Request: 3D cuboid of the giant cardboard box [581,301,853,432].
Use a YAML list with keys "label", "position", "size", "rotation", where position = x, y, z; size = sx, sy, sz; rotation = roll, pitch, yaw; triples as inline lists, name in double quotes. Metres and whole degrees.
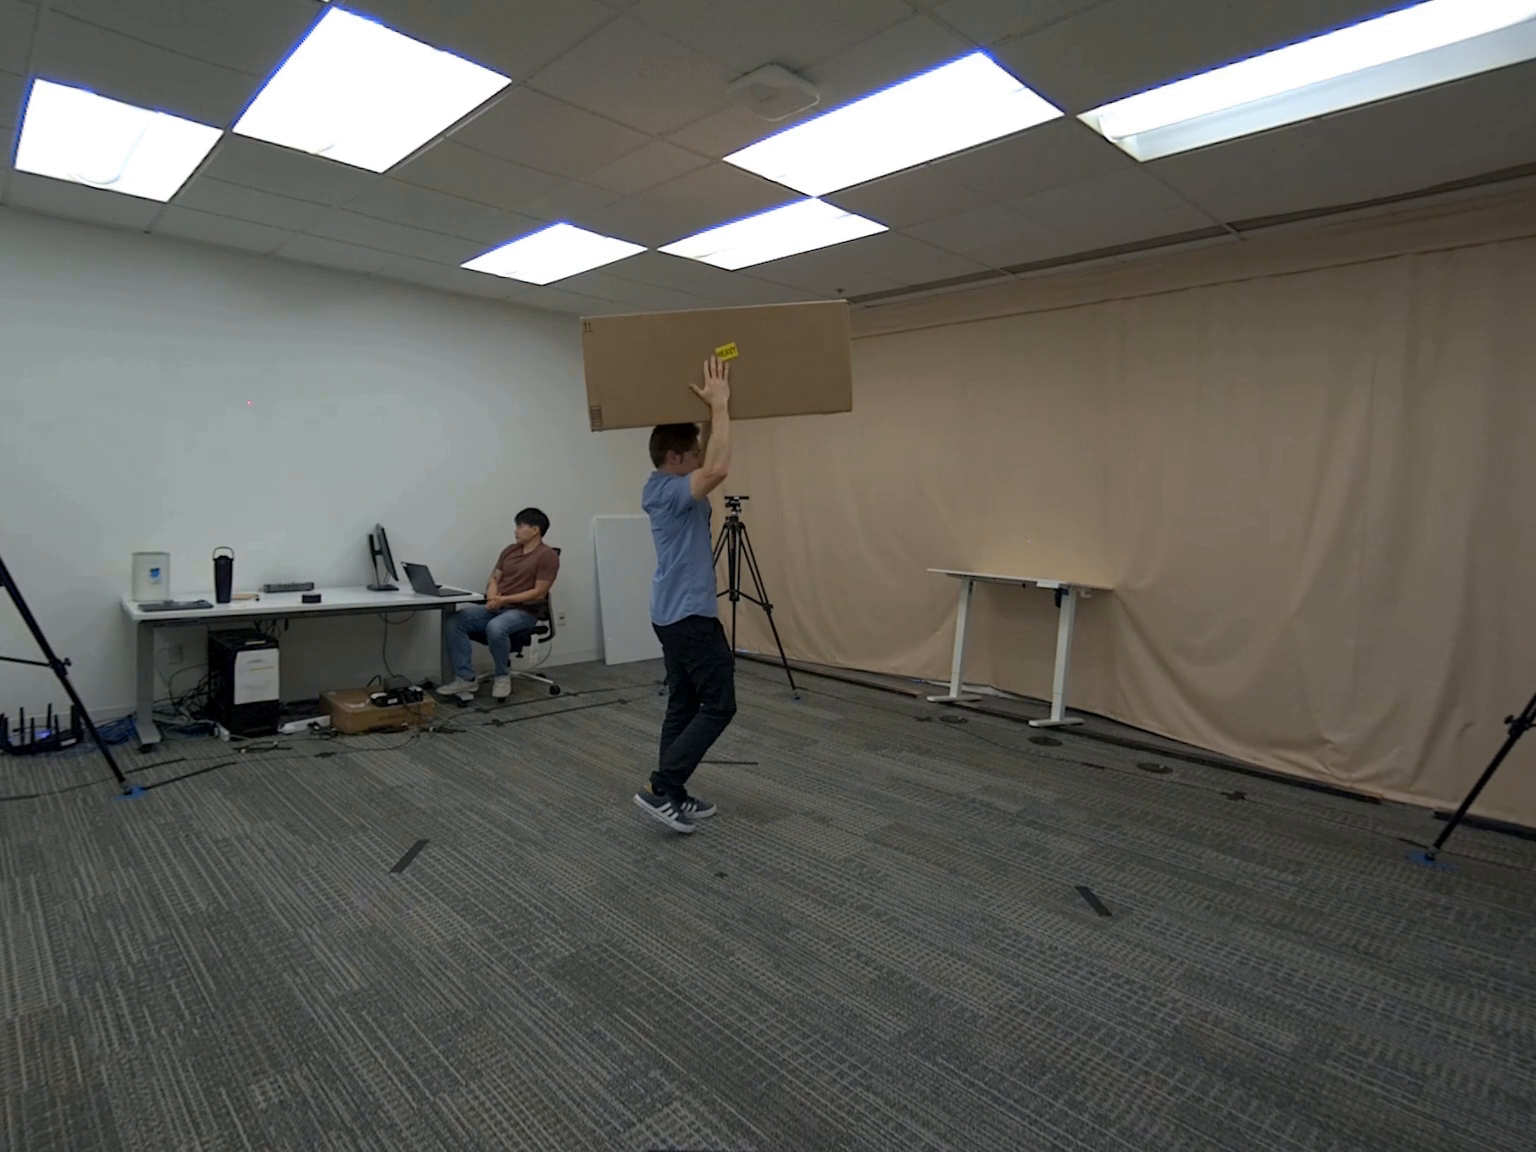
- label: "giant cardboard box"
  position: [-0.230, -0.853, 3.480]
  size: [1.022, 0.423, 0.584]
  rotation: [-5, 10, -5]
